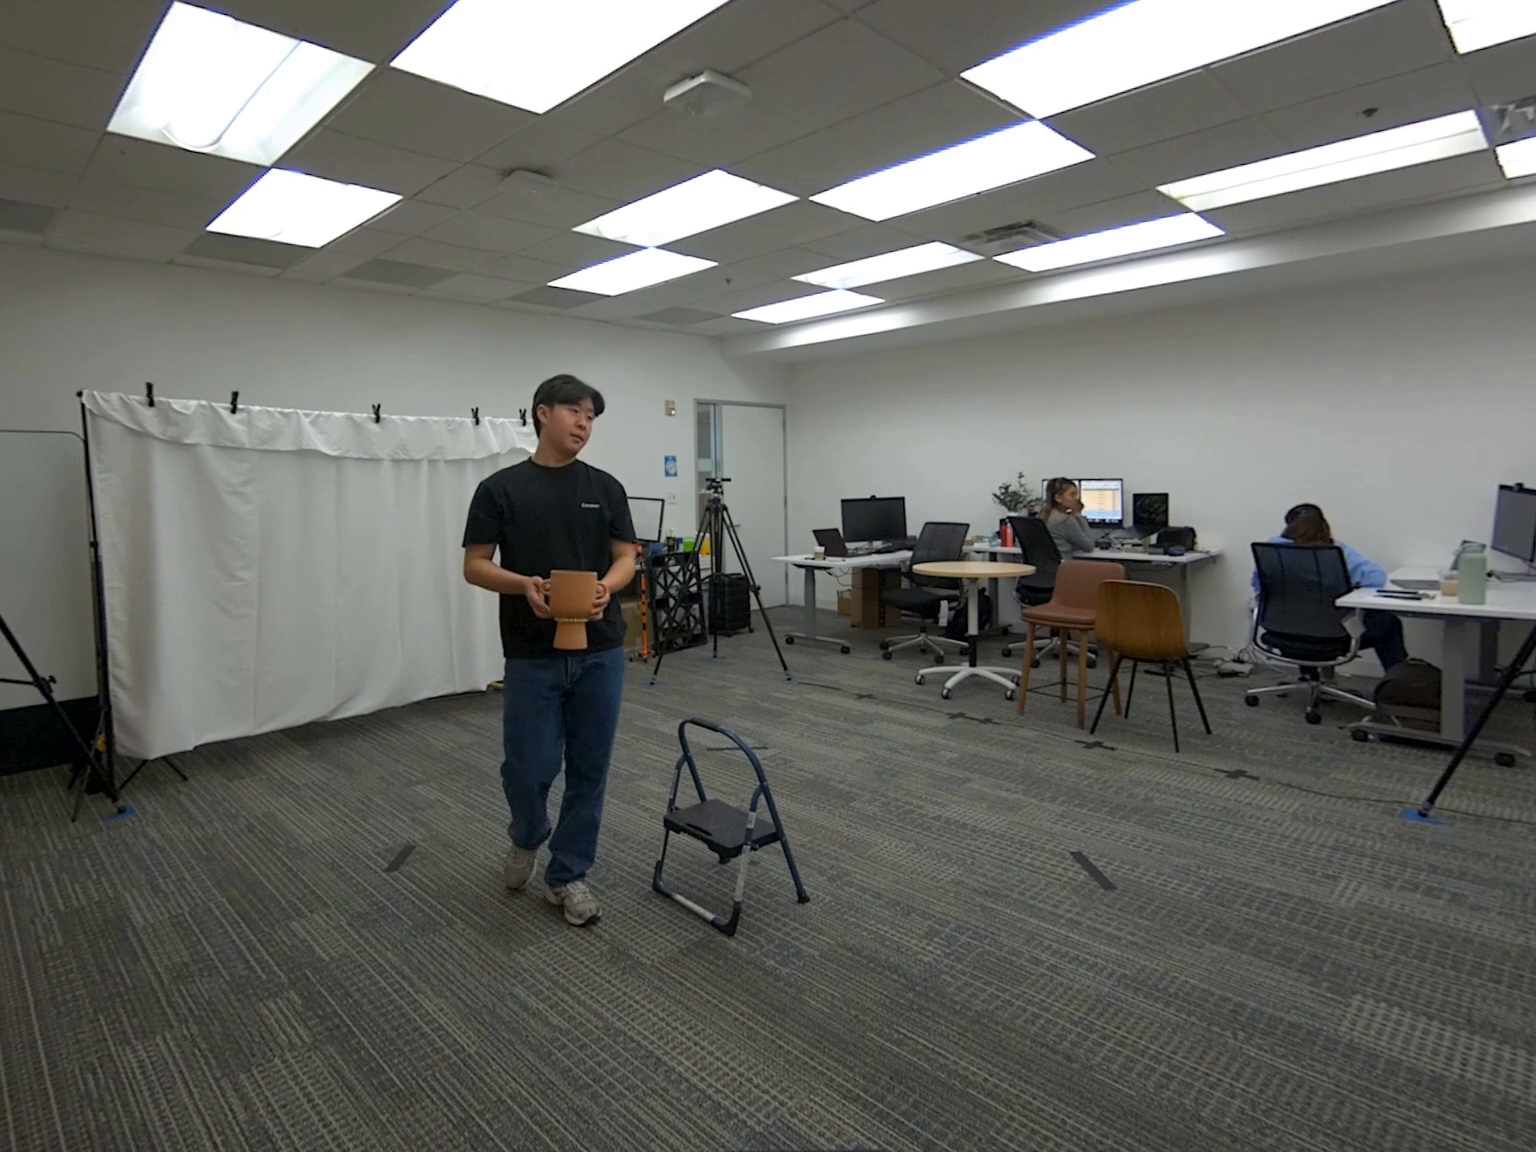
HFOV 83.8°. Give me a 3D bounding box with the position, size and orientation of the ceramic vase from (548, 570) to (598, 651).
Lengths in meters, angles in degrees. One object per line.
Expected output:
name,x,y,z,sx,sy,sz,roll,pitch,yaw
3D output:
ceramic vase,-0.578,0.098,2.498,0.163,0.220,0.131,4,0,26
